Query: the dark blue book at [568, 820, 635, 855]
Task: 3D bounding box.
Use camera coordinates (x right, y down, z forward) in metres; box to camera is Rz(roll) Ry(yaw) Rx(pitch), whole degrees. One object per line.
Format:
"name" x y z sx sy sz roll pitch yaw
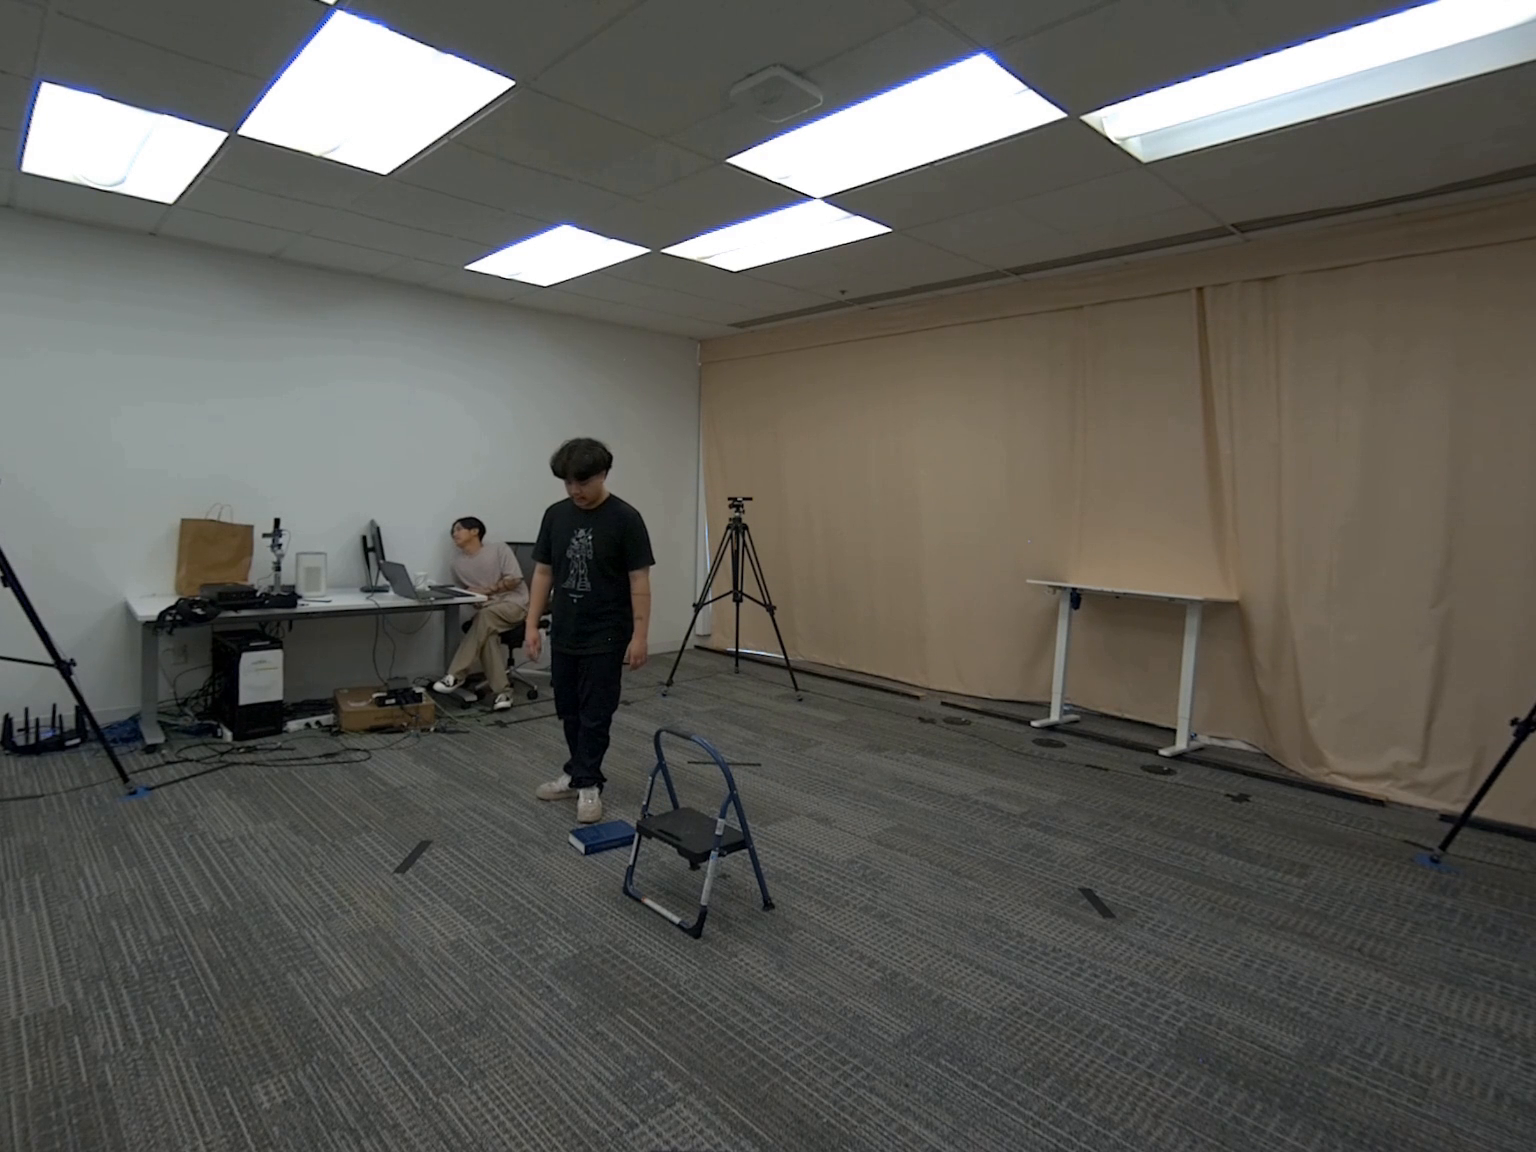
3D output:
"dark blue book" -0.671 1.052 3.385 0.240 0.045 0.167 -2 6 -36
